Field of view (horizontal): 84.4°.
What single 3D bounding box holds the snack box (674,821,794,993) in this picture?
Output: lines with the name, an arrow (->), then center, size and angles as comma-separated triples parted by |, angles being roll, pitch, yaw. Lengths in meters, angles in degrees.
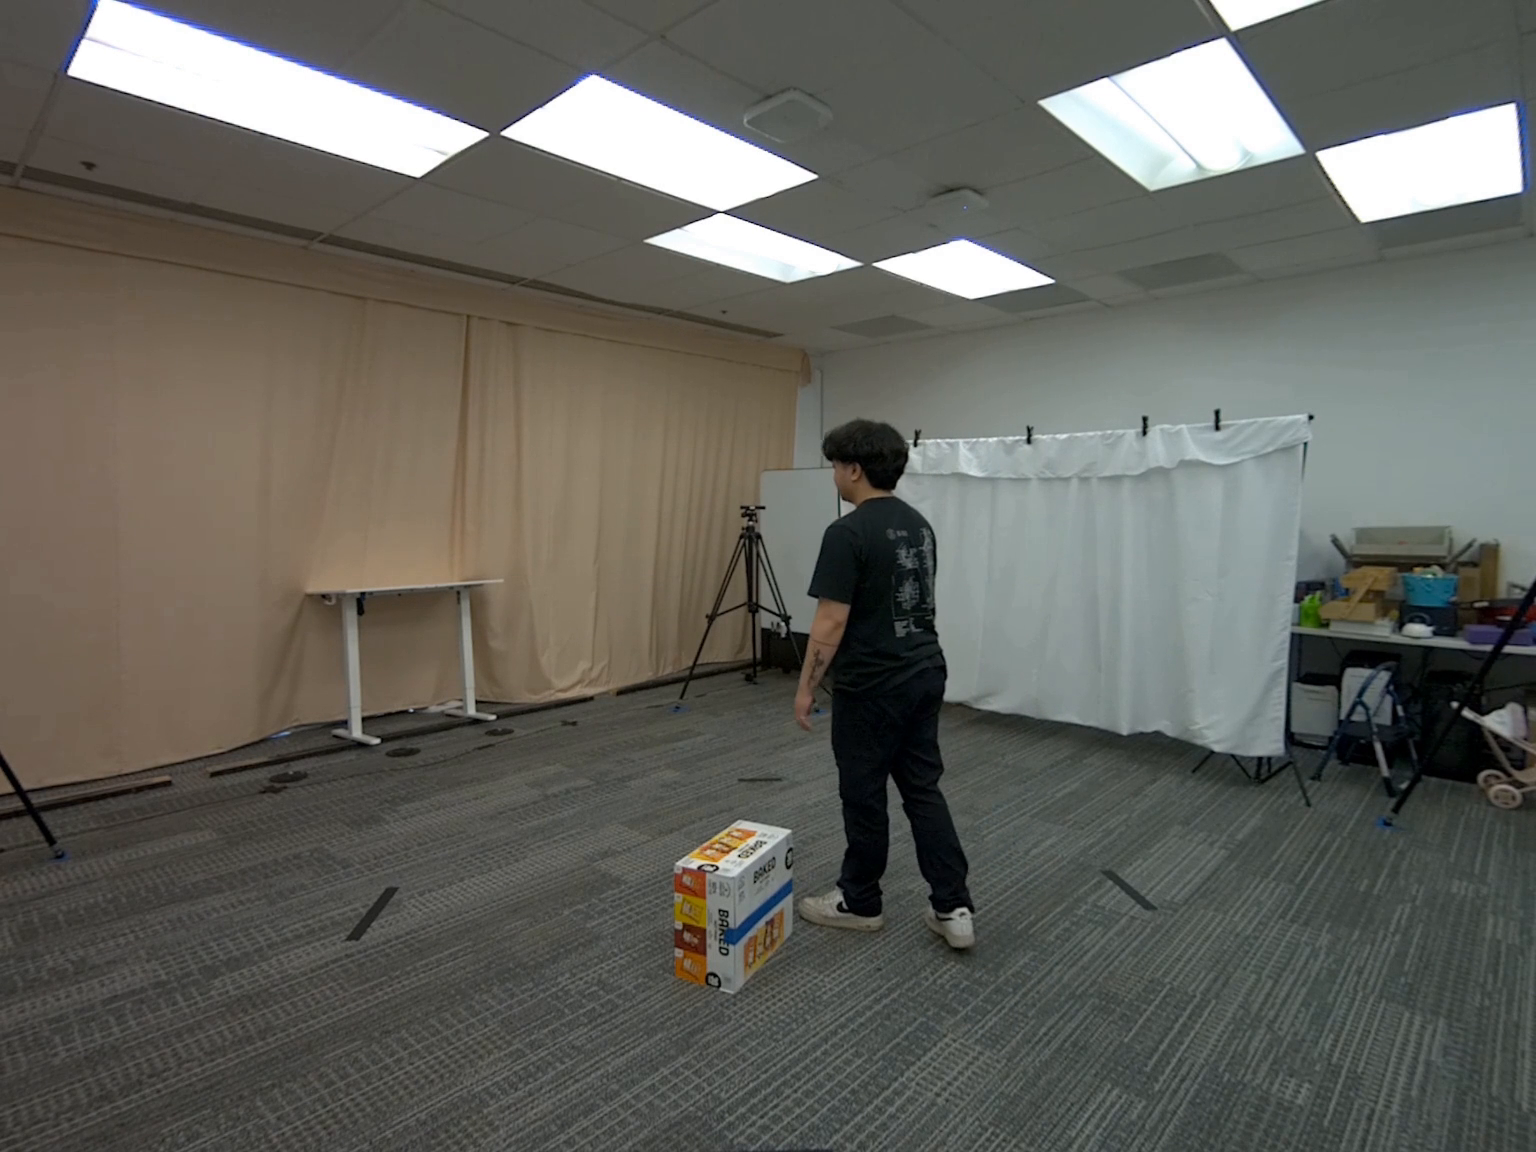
snack box -> -0.099, 1.006, 2.612 | 0.211, 0.340, 0.395 | 1, 3, 27
